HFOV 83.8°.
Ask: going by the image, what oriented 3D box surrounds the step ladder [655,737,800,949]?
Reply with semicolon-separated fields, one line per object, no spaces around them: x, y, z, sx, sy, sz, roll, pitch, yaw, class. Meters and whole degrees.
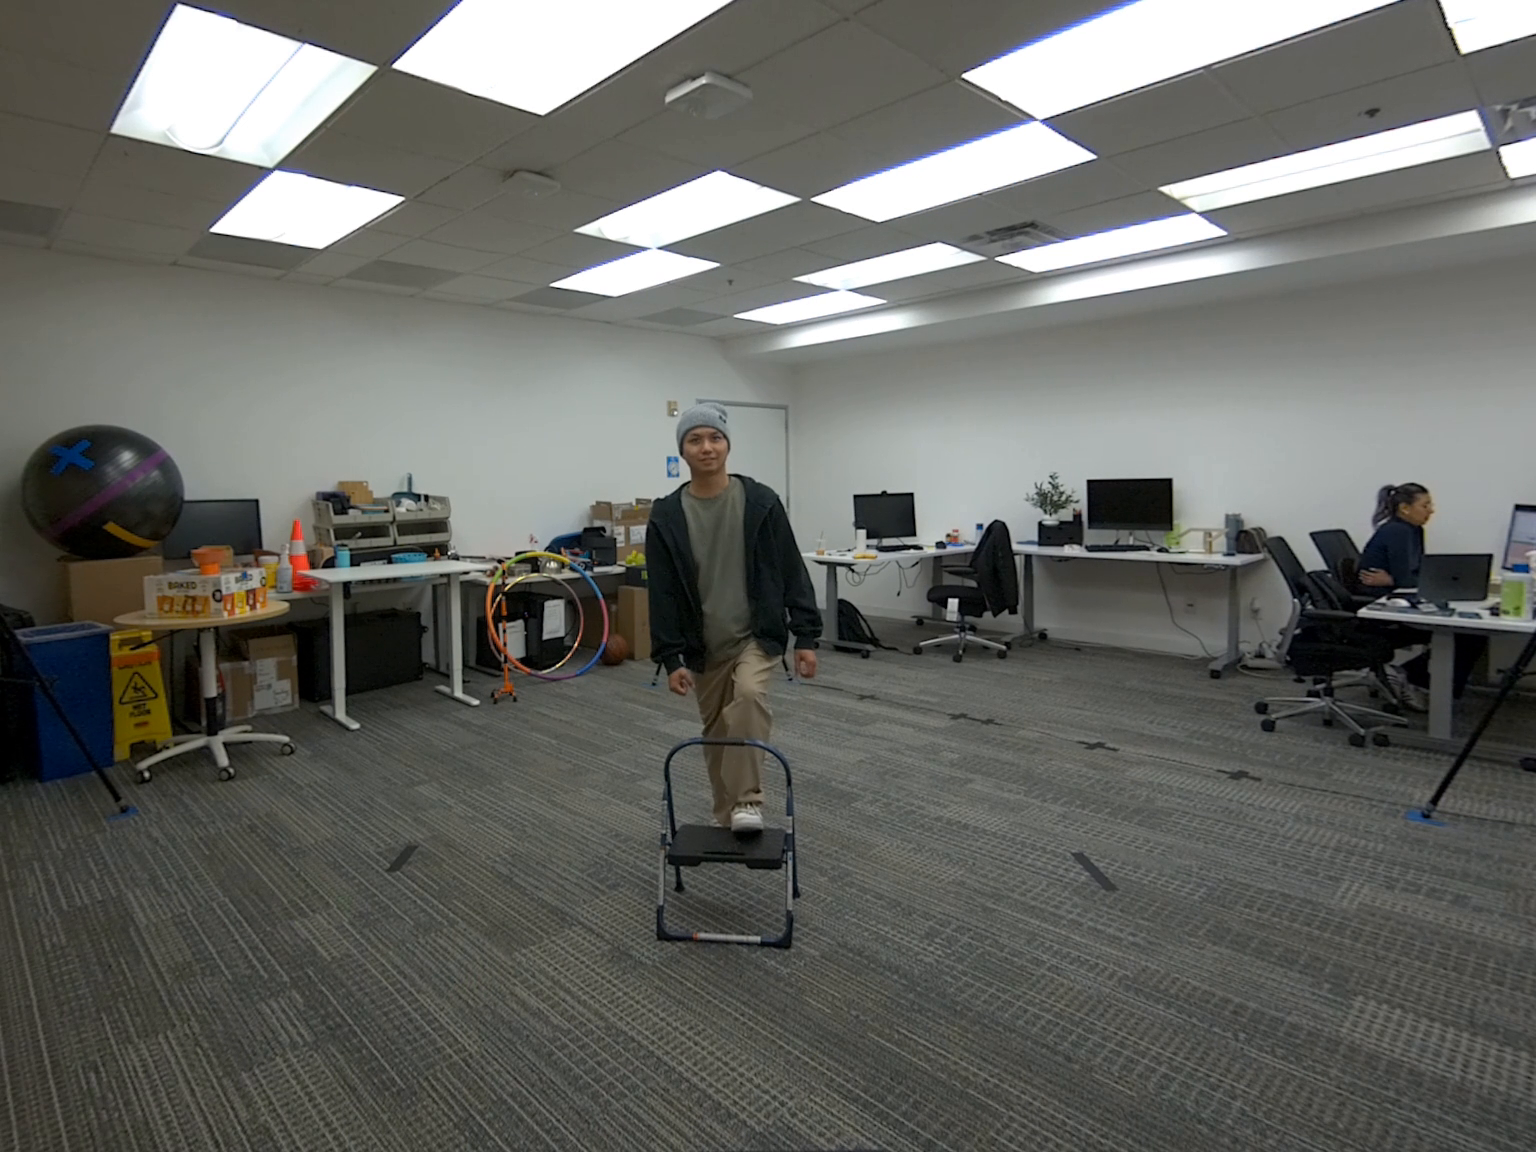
-0.121;0.793;2.719;0.433;0.604;0.348;0;4;6;step ladder
